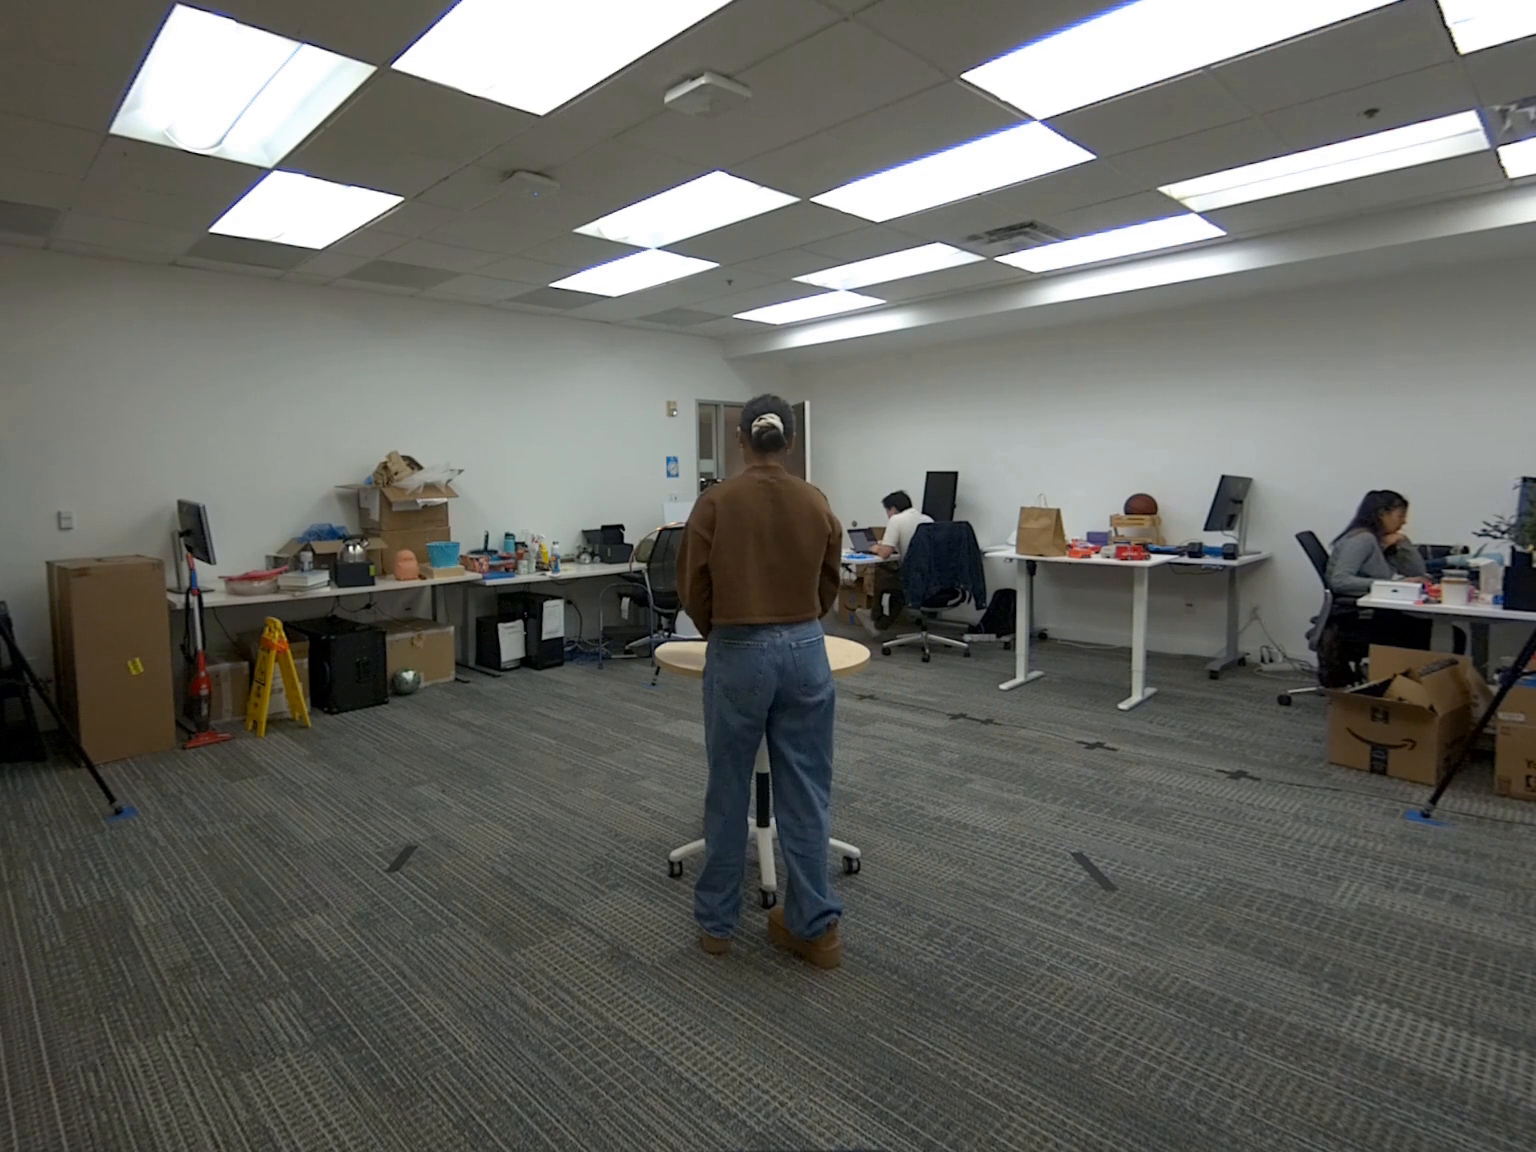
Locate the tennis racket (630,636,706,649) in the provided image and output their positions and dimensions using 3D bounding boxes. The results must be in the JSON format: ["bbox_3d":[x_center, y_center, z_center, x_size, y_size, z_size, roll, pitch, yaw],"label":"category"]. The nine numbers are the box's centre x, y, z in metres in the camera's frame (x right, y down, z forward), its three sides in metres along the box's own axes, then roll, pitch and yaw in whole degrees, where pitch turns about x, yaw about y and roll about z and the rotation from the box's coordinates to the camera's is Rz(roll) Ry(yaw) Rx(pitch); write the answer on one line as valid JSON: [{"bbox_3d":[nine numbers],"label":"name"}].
[{"bbox_3d":[-0.242,0.217,2.865,0.444,0.032,0.207,-6,-6,43],"label":"tennis racket"}]
